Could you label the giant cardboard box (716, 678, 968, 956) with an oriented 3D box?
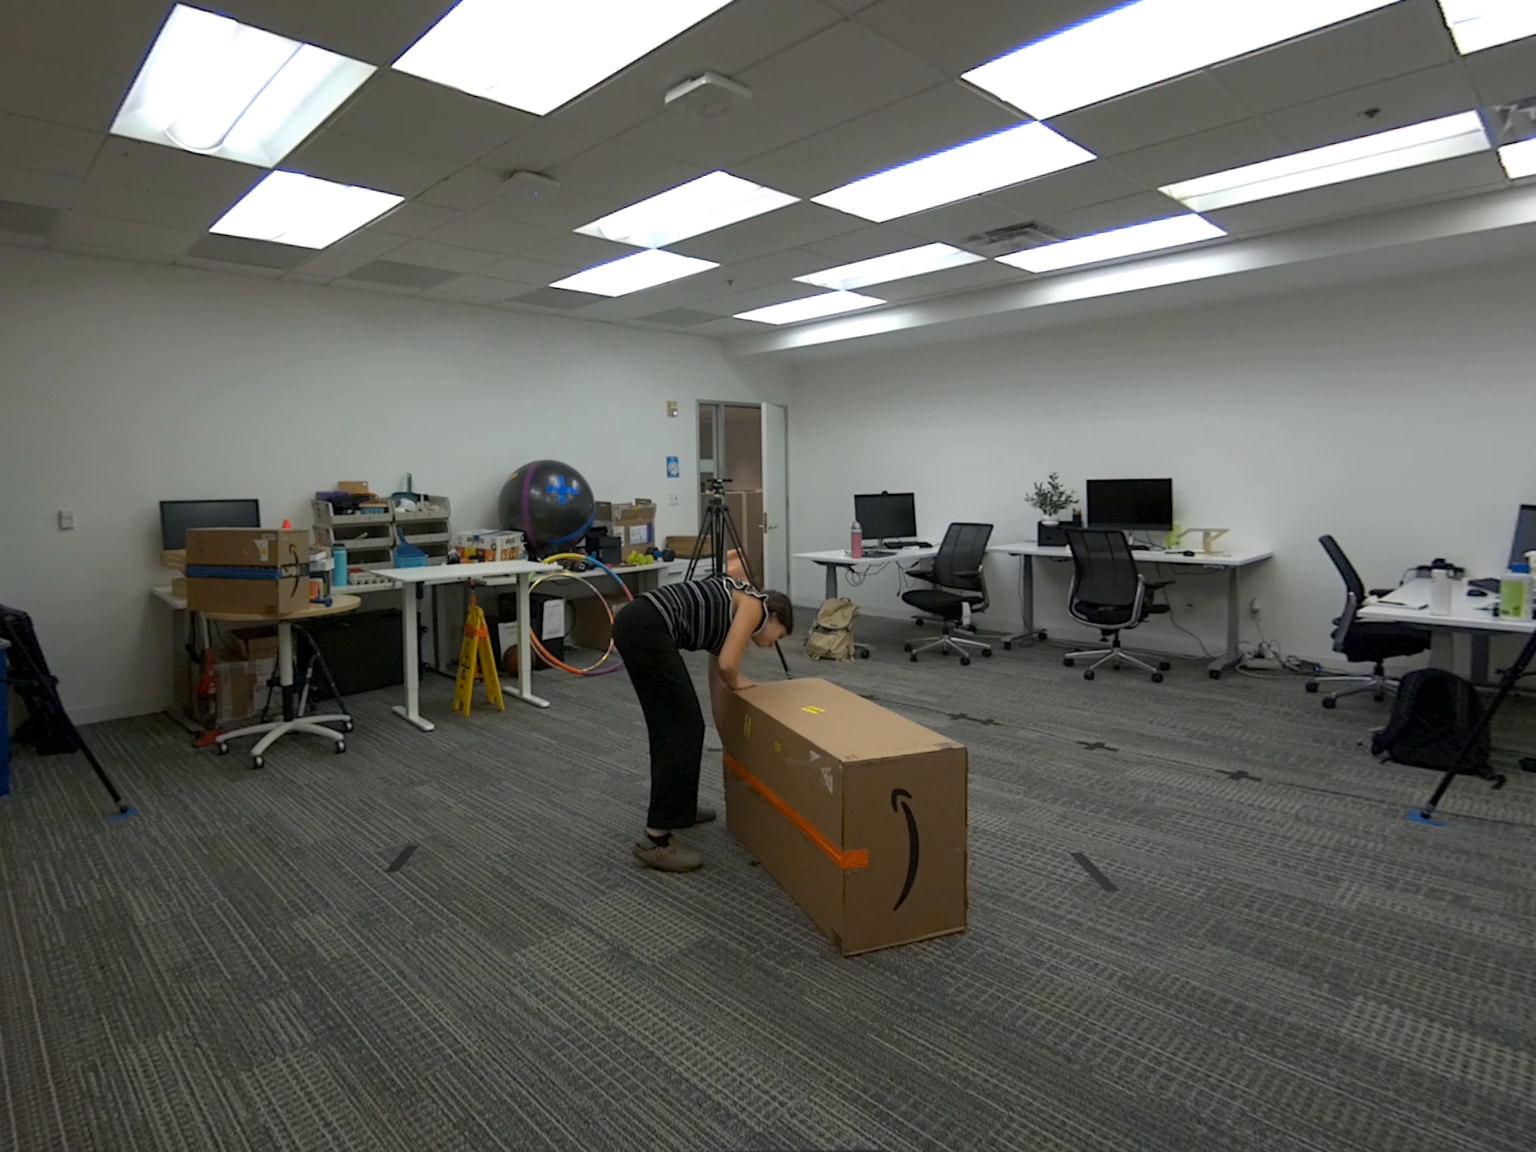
[{"bbox_3d":[0.225,0.764,3.006,0.418,0.575,1.049,-2,5,-22],"label":"giant cardboard box"}]
